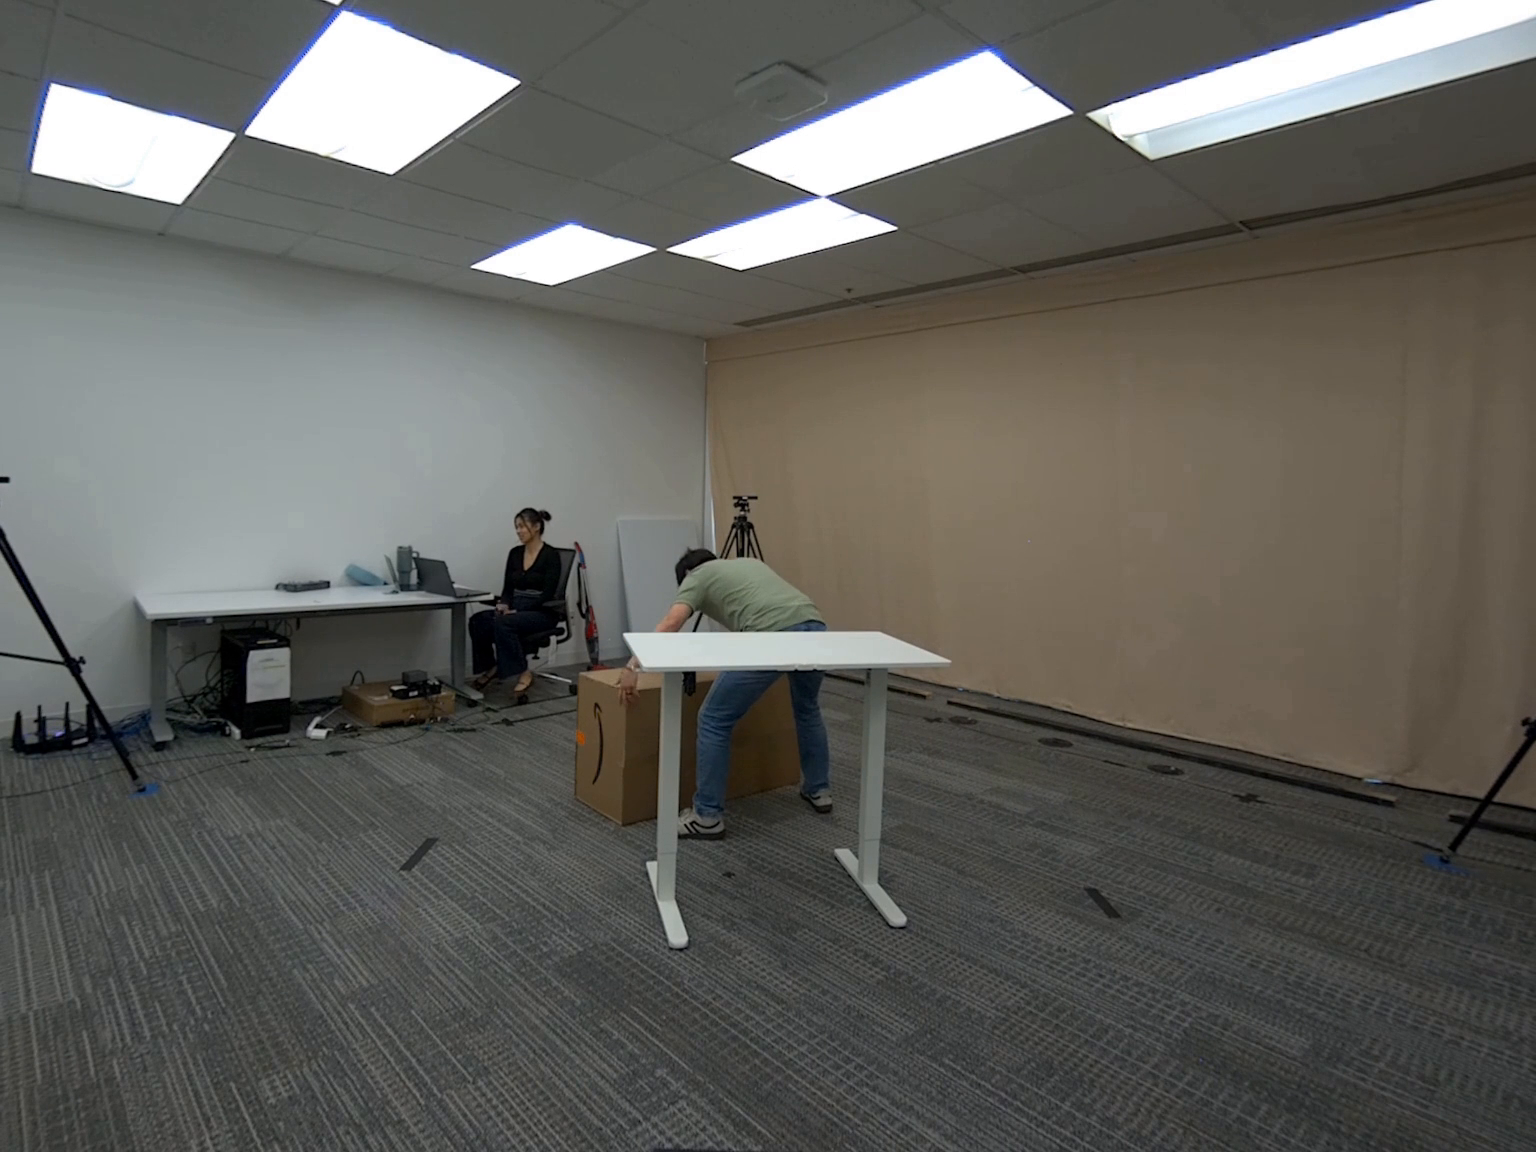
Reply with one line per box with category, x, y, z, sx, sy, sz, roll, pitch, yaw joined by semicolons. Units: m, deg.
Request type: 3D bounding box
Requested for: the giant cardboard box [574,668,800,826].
giant cardboard box;-0.359;0.731;3.999;1.002;0.576;0.437;-2;6;-39
